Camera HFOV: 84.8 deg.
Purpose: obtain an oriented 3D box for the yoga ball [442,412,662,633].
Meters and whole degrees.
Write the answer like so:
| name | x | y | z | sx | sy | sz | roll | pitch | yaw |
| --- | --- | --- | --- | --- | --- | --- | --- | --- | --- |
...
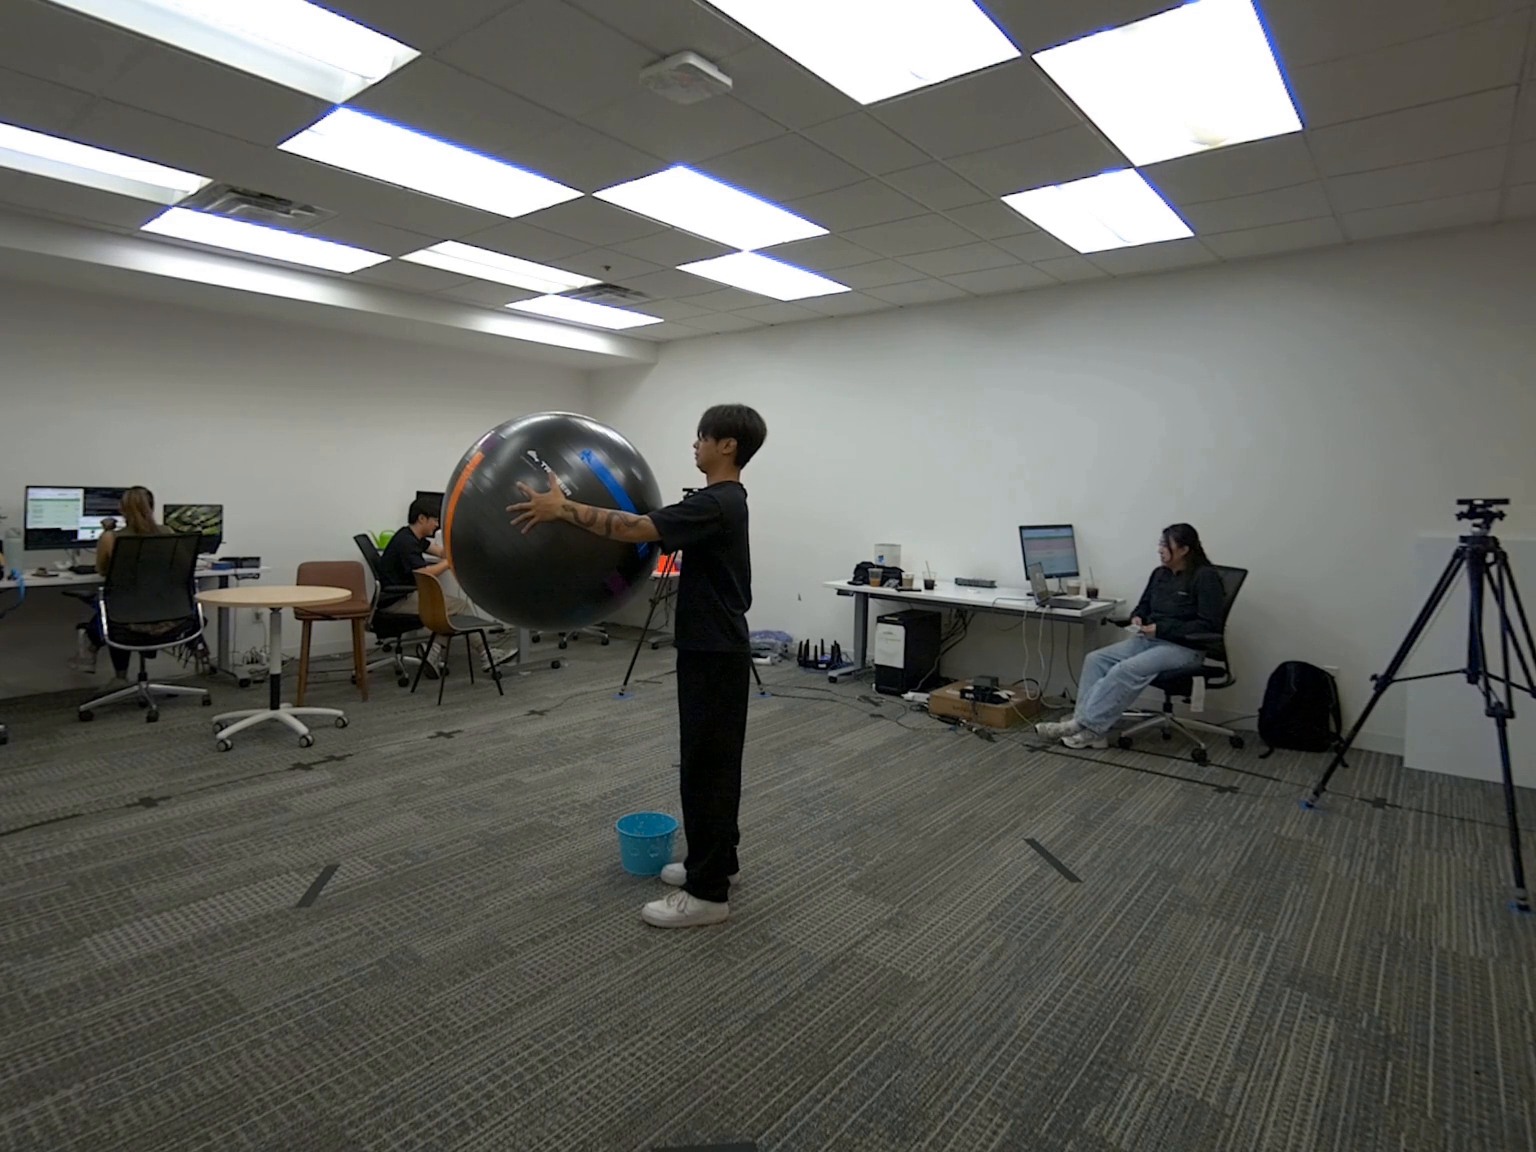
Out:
| name | x | y | z | sx | sy | sz | roll | pitch | yaw |
| --- | --- | --- | --- | --- | --- | --- | --- | --- | --- |
| yoga ball | -0.756 | -0.176 | 2.953 | 0.757 | 0.756 | 0.761 | 1 | 4 | -2 |
